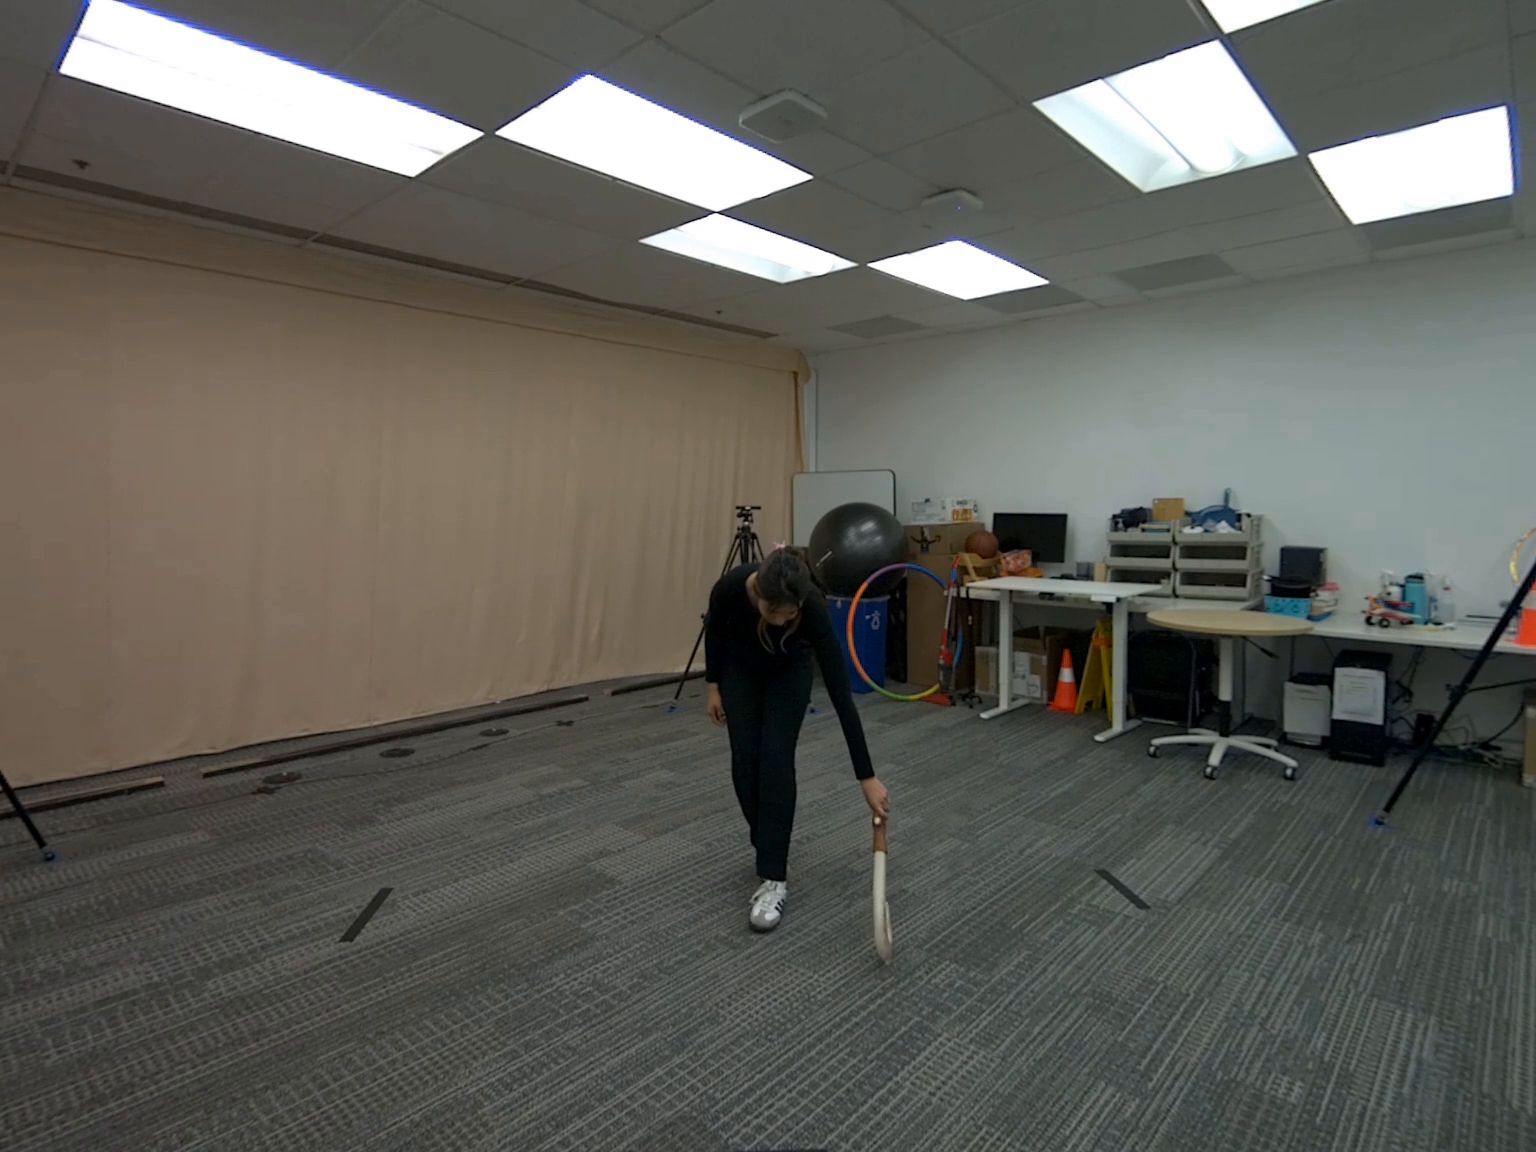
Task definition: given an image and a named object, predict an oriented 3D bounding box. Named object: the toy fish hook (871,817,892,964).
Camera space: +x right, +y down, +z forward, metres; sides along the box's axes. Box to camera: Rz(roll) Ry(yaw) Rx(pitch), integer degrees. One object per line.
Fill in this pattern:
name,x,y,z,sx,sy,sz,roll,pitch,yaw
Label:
toy fish hook,0.372,0.948,2.674,0.049,0.513,0.219,-1,-35,10
